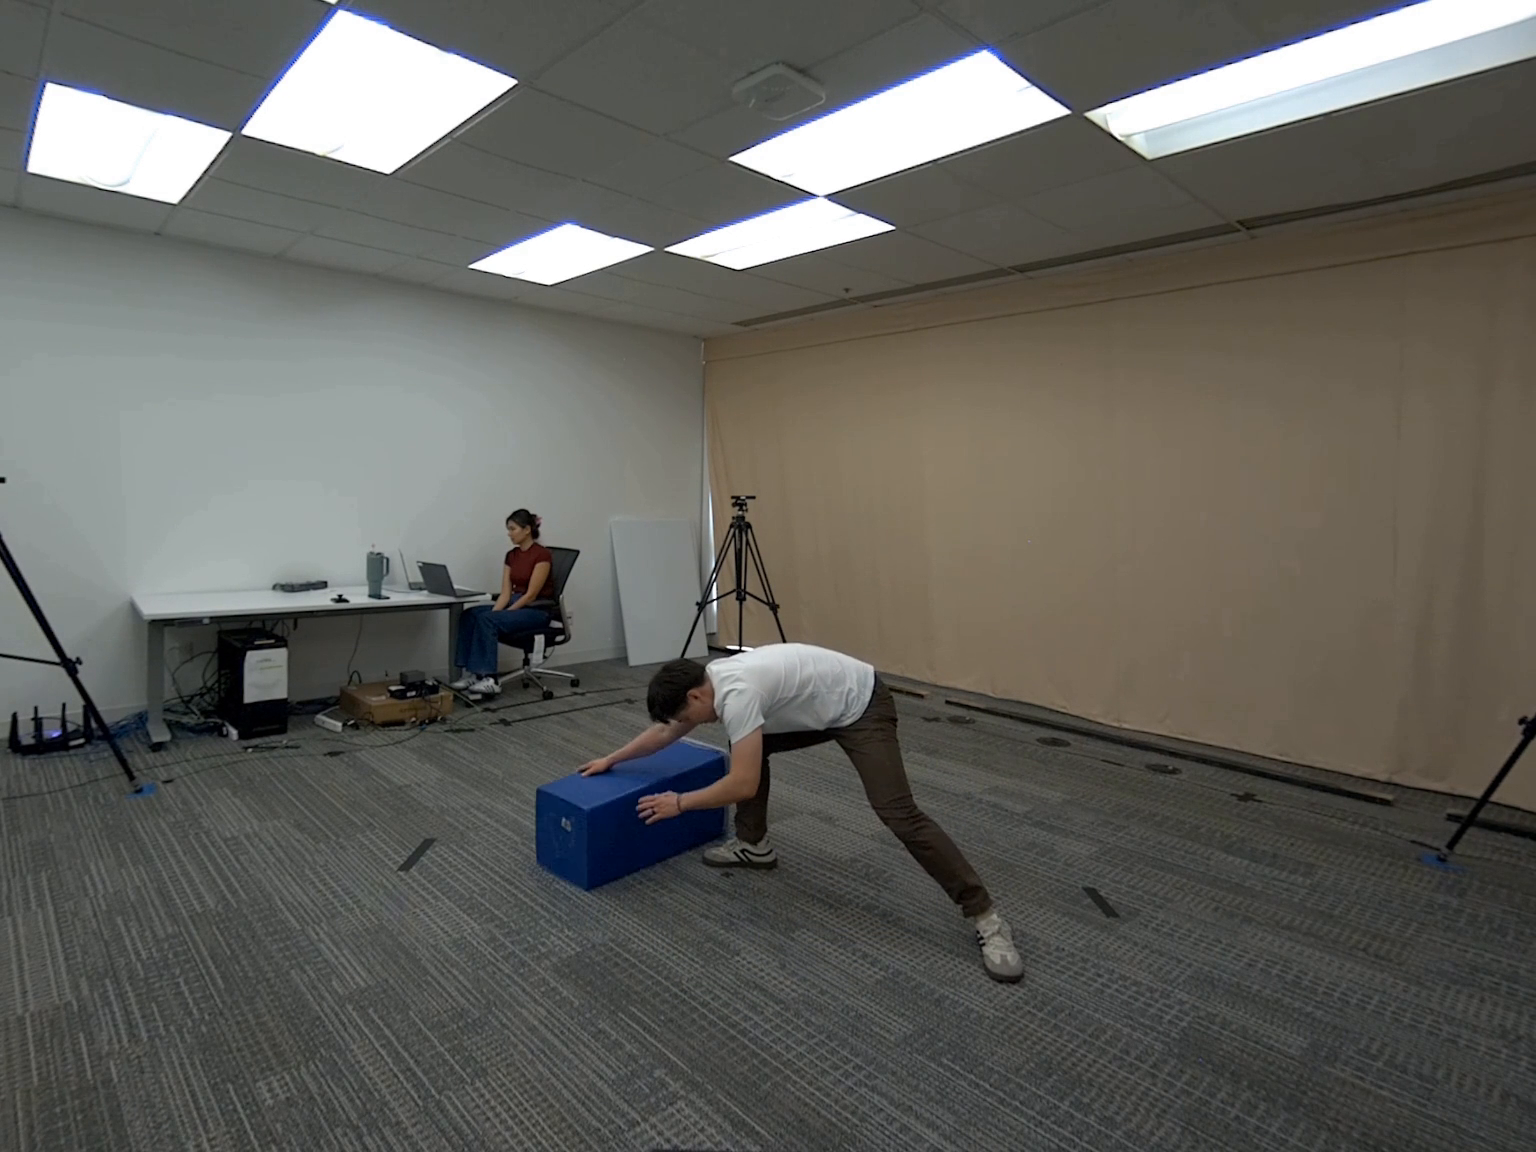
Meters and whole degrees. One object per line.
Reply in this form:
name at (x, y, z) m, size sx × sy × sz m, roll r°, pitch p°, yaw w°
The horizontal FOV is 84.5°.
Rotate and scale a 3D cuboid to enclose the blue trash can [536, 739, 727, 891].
blue trash can at (-0.514, 0.909, 3.279) m, size 0.384 × 0.376 × 0.699 m, roll 7°, pitch 10°, yaw 41°
